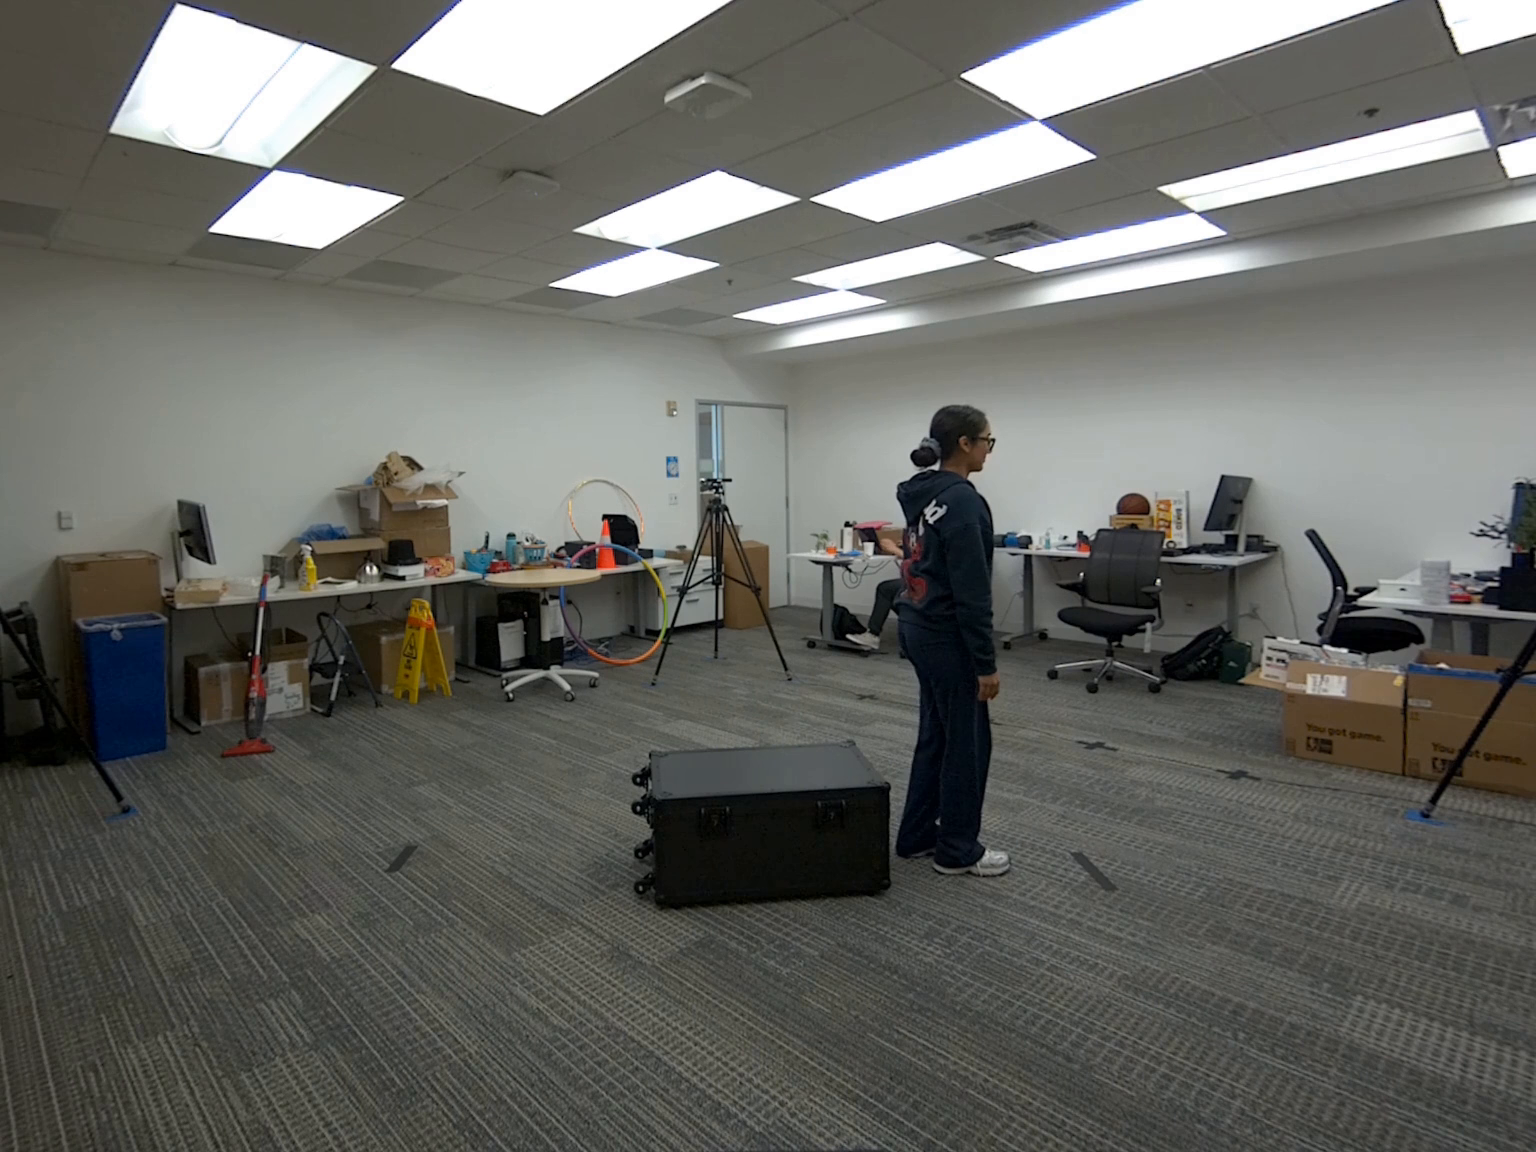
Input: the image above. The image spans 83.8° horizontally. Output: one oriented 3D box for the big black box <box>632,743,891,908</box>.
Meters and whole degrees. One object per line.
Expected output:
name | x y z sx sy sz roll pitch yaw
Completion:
big black box | -0.050 0.854 3.026 0.856 0.394 0.527 0 6 -7
